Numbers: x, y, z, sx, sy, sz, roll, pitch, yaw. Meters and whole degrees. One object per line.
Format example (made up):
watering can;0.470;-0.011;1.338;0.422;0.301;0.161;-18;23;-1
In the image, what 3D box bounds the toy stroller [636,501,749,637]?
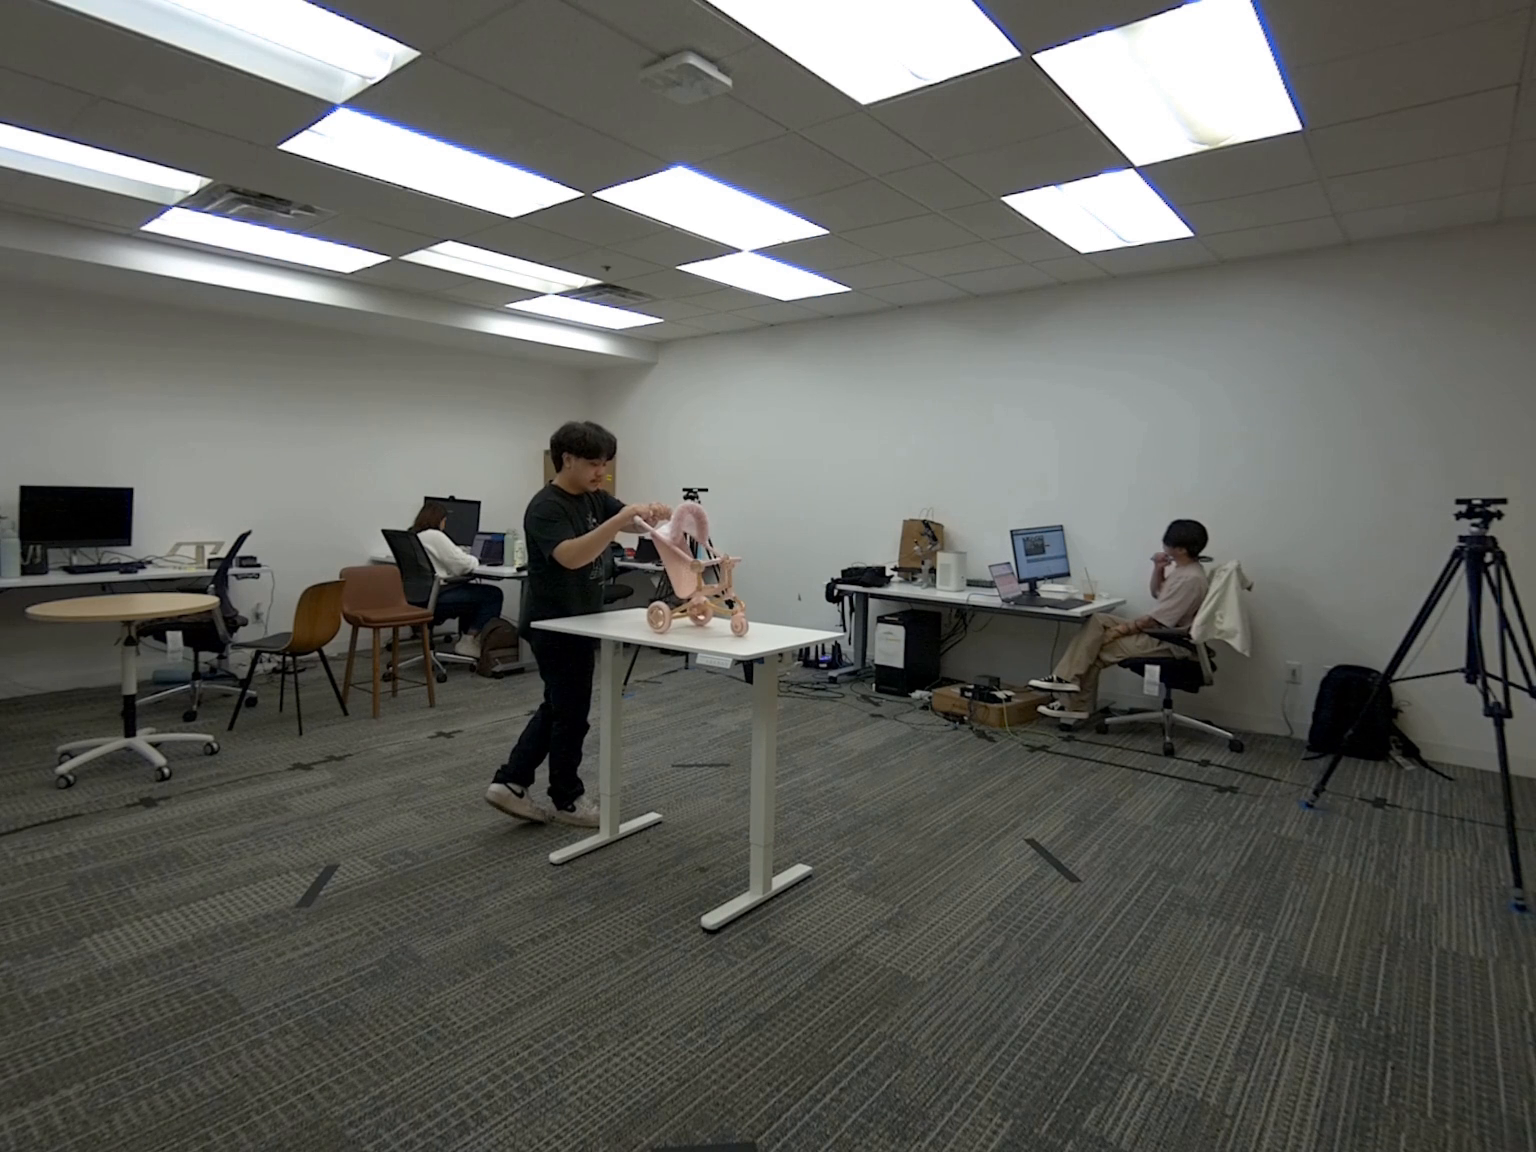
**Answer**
toy stroller;-0.276;-0.030;3.015;0.348;0.540;0.273;-17;-8;37
